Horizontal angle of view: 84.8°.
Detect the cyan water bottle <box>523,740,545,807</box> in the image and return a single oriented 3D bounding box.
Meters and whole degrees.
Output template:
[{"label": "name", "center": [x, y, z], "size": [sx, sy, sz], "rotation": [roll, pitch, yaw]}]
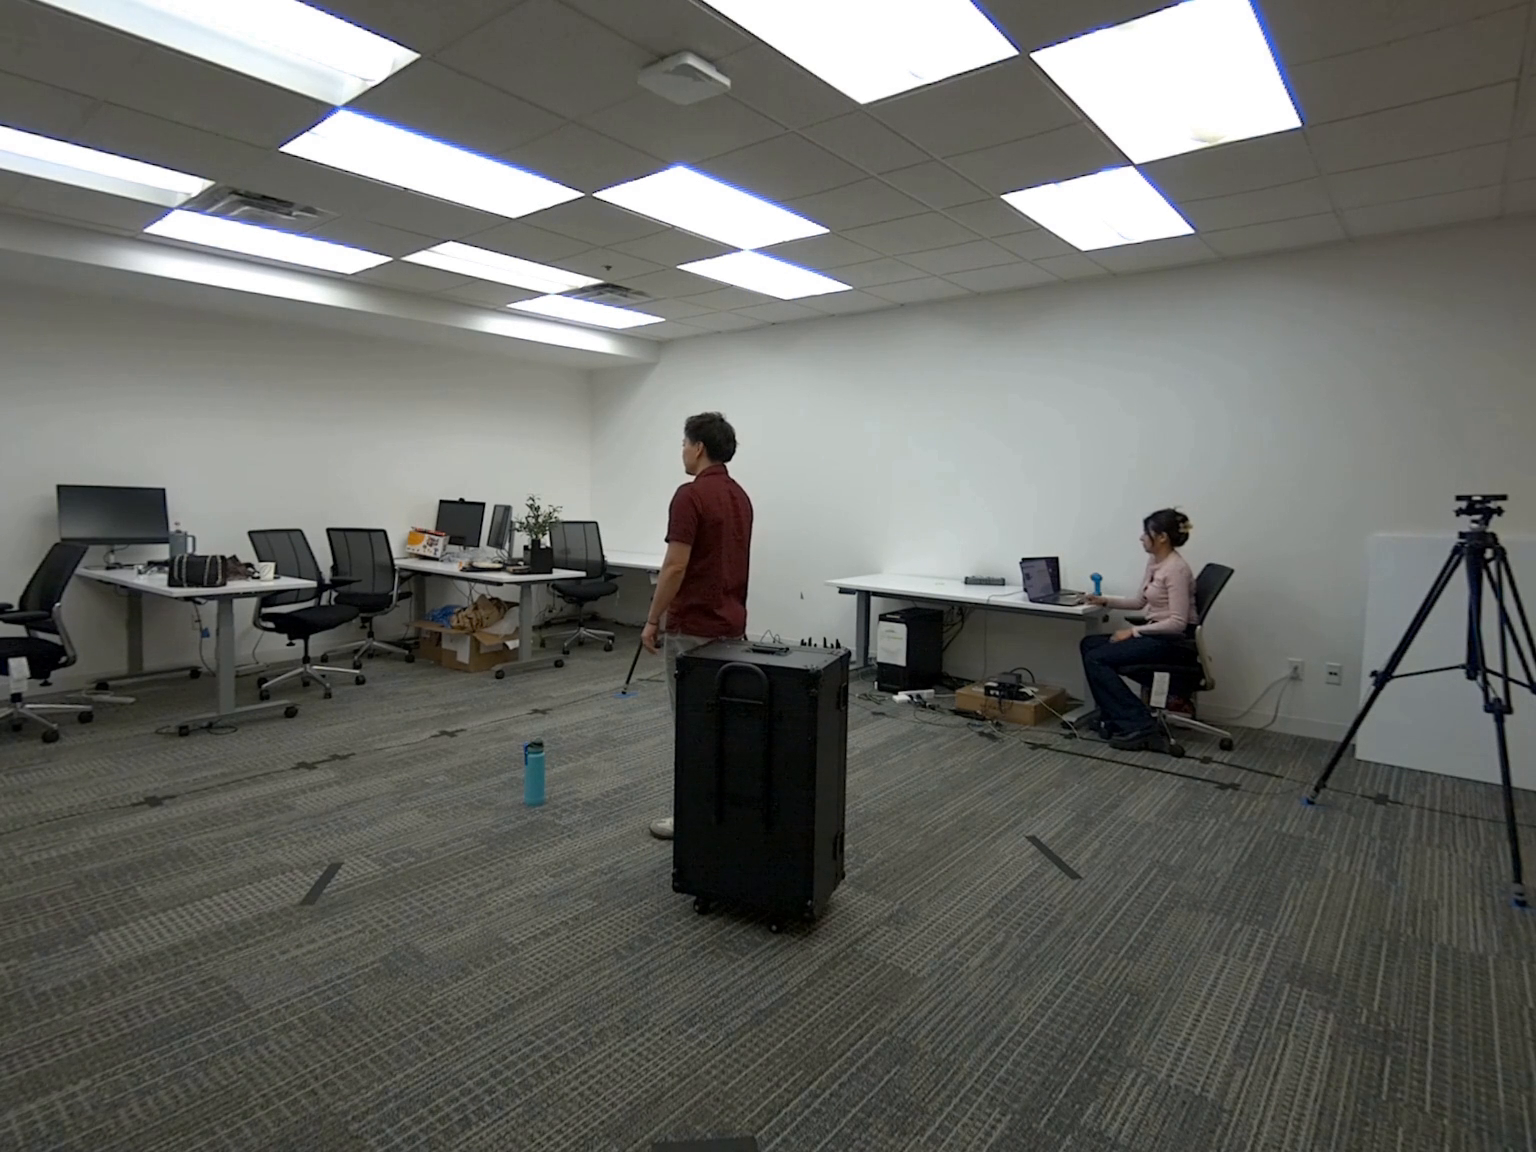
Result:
[{"label": "cyan water bottle", "center": [-1.045, 0.856, 3.741], "size": [0.092, 0.282, 0.093], "rotation": [-1, 4, -2]}]
